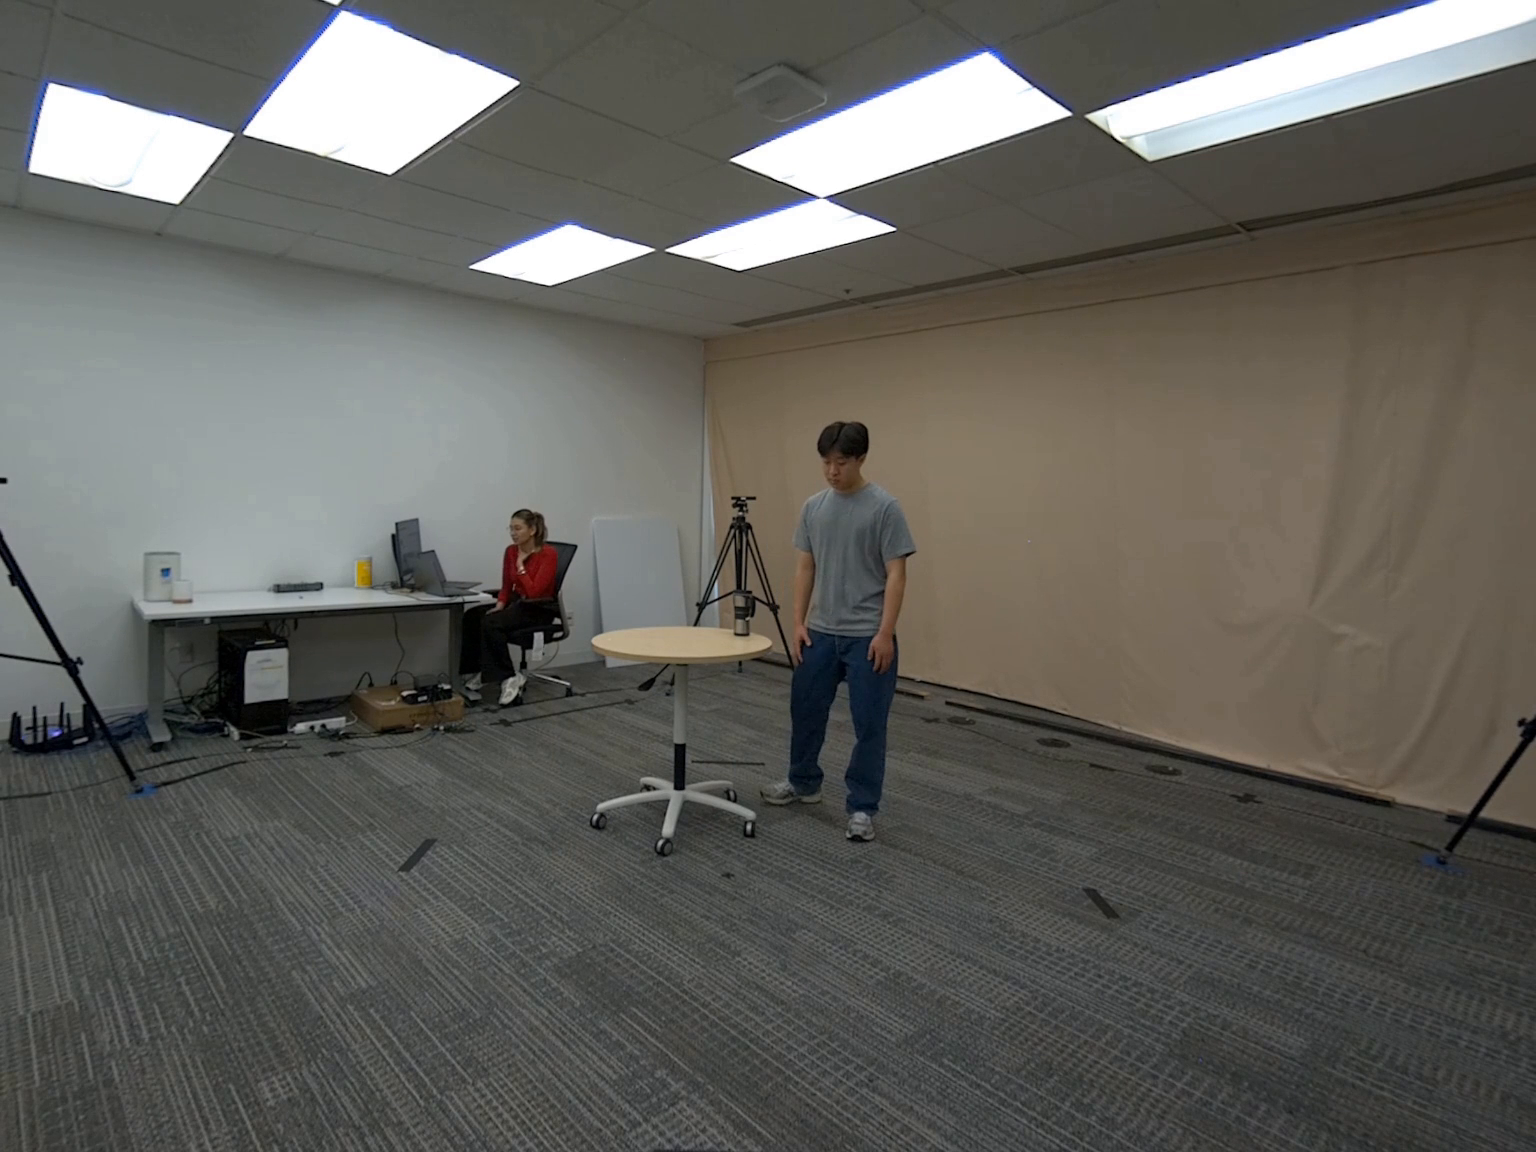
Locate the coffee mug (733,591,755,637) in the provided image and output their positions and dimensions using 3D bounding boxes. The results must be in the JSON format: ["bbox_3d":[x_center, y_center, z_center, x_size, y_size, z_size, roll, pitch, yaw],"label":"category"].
[{"bbox_3d":[-0.113,0.165,3.733,0.086,0.204,0.123,3,-6,-22],"label":"coffee mug"}]
